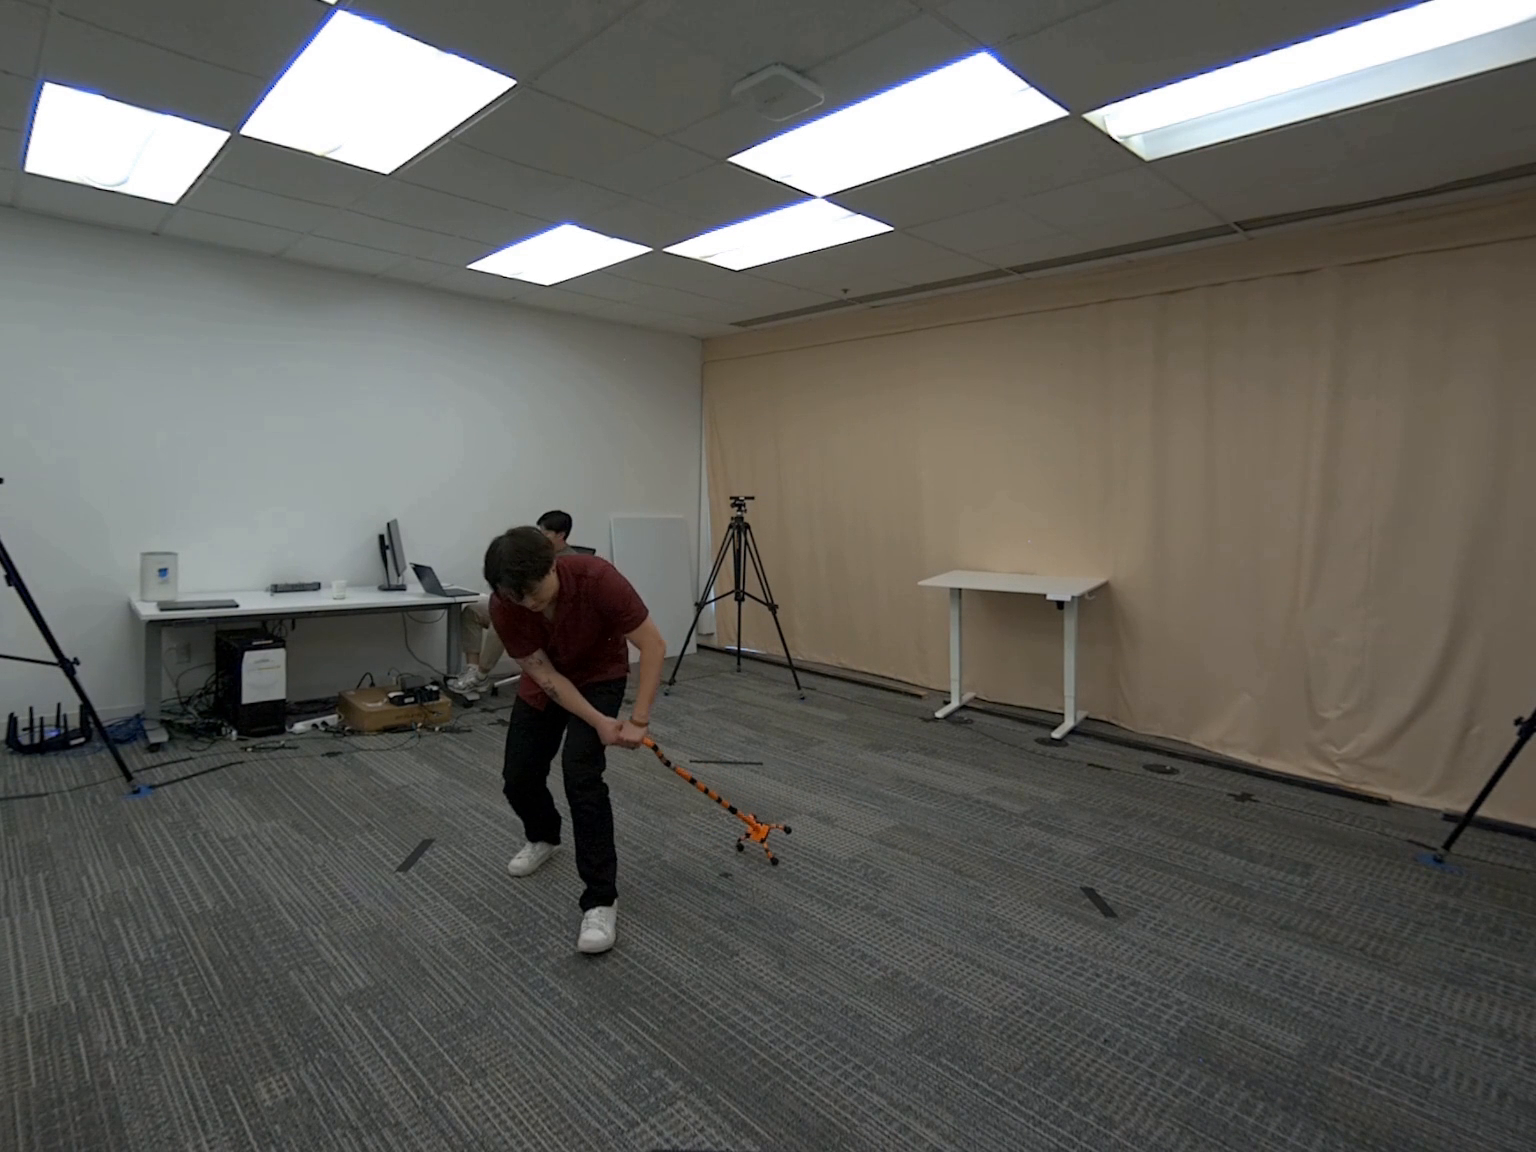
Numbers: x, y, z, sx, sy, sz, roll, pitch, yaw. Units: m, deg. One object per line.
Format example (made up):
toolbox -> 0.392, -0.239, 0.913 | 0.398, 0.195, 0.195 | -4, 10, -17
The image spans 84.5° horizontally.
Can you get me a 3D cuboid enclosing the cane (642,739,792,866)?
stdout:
cane -> -0.243, 0.781, 3.013 | 0.211, 0.152, 0.879 | 4, -32, 41
